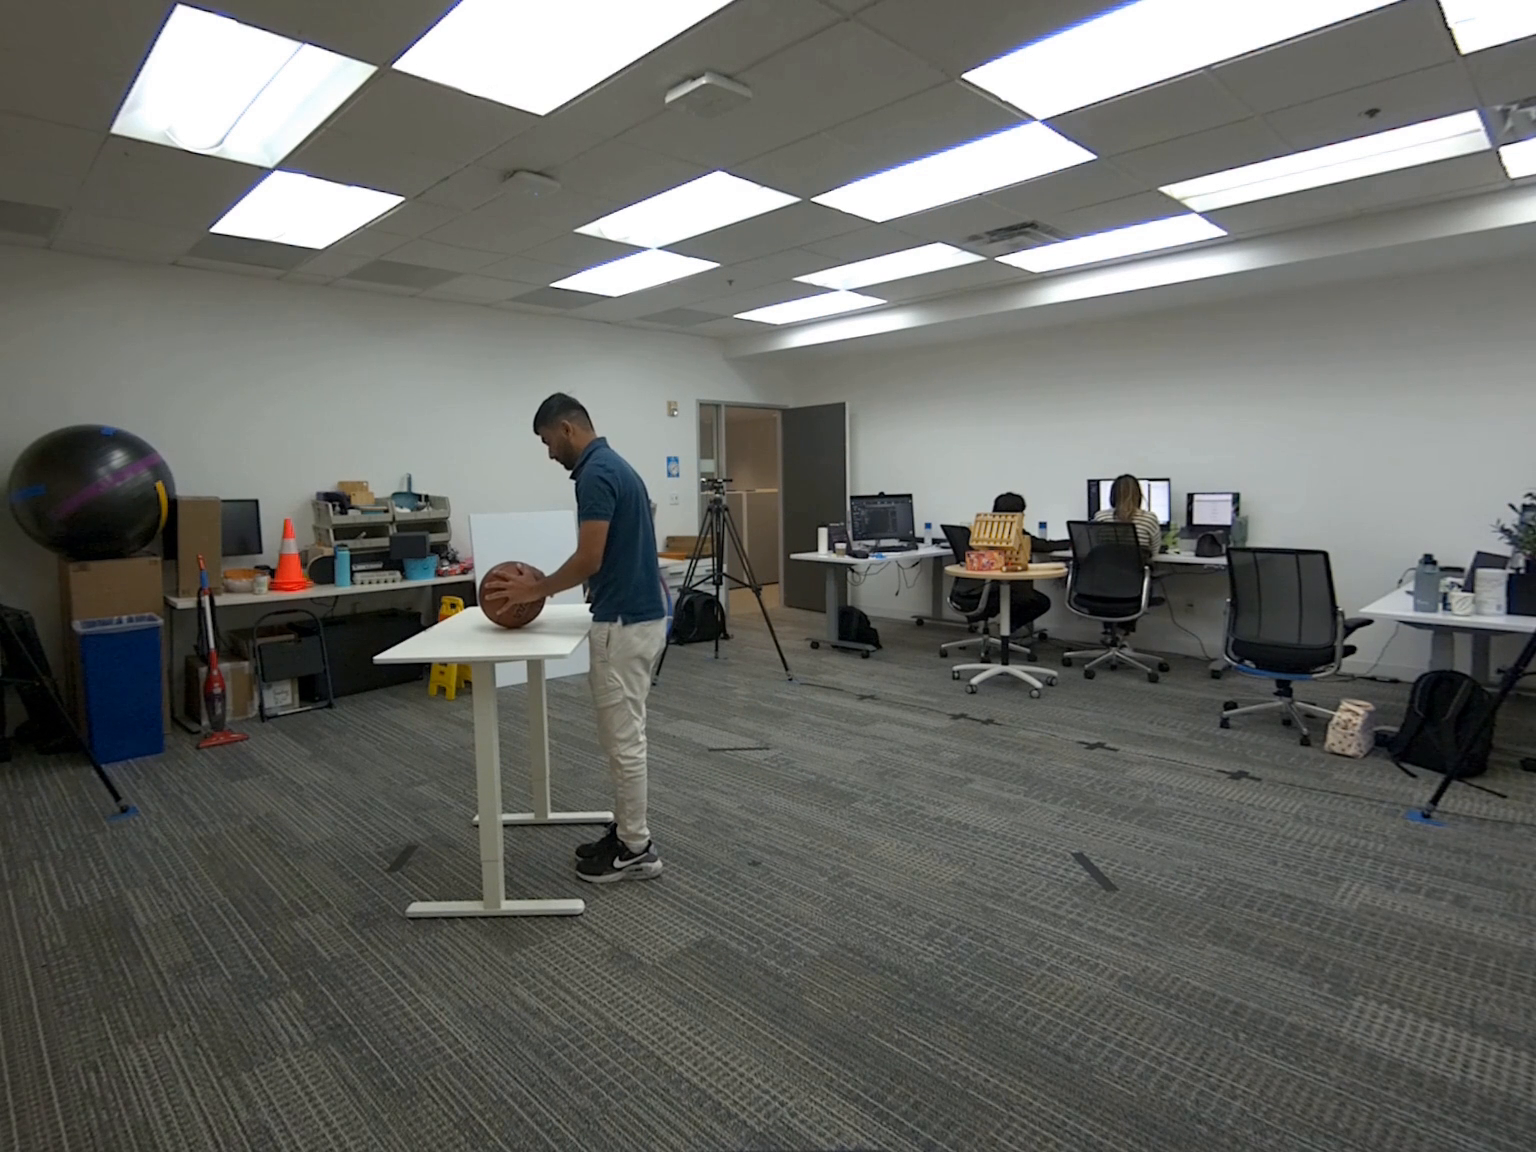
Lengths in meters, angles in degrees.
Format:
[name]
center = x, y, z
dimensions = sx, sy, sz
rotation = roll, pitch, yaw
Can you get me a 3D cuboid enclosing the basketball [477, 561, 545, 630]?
[basketball]
center = -0.914, 0.062, 3.064
dimensions = 0.236, 0.235, 0.237
rotation = -1, 5, -2
